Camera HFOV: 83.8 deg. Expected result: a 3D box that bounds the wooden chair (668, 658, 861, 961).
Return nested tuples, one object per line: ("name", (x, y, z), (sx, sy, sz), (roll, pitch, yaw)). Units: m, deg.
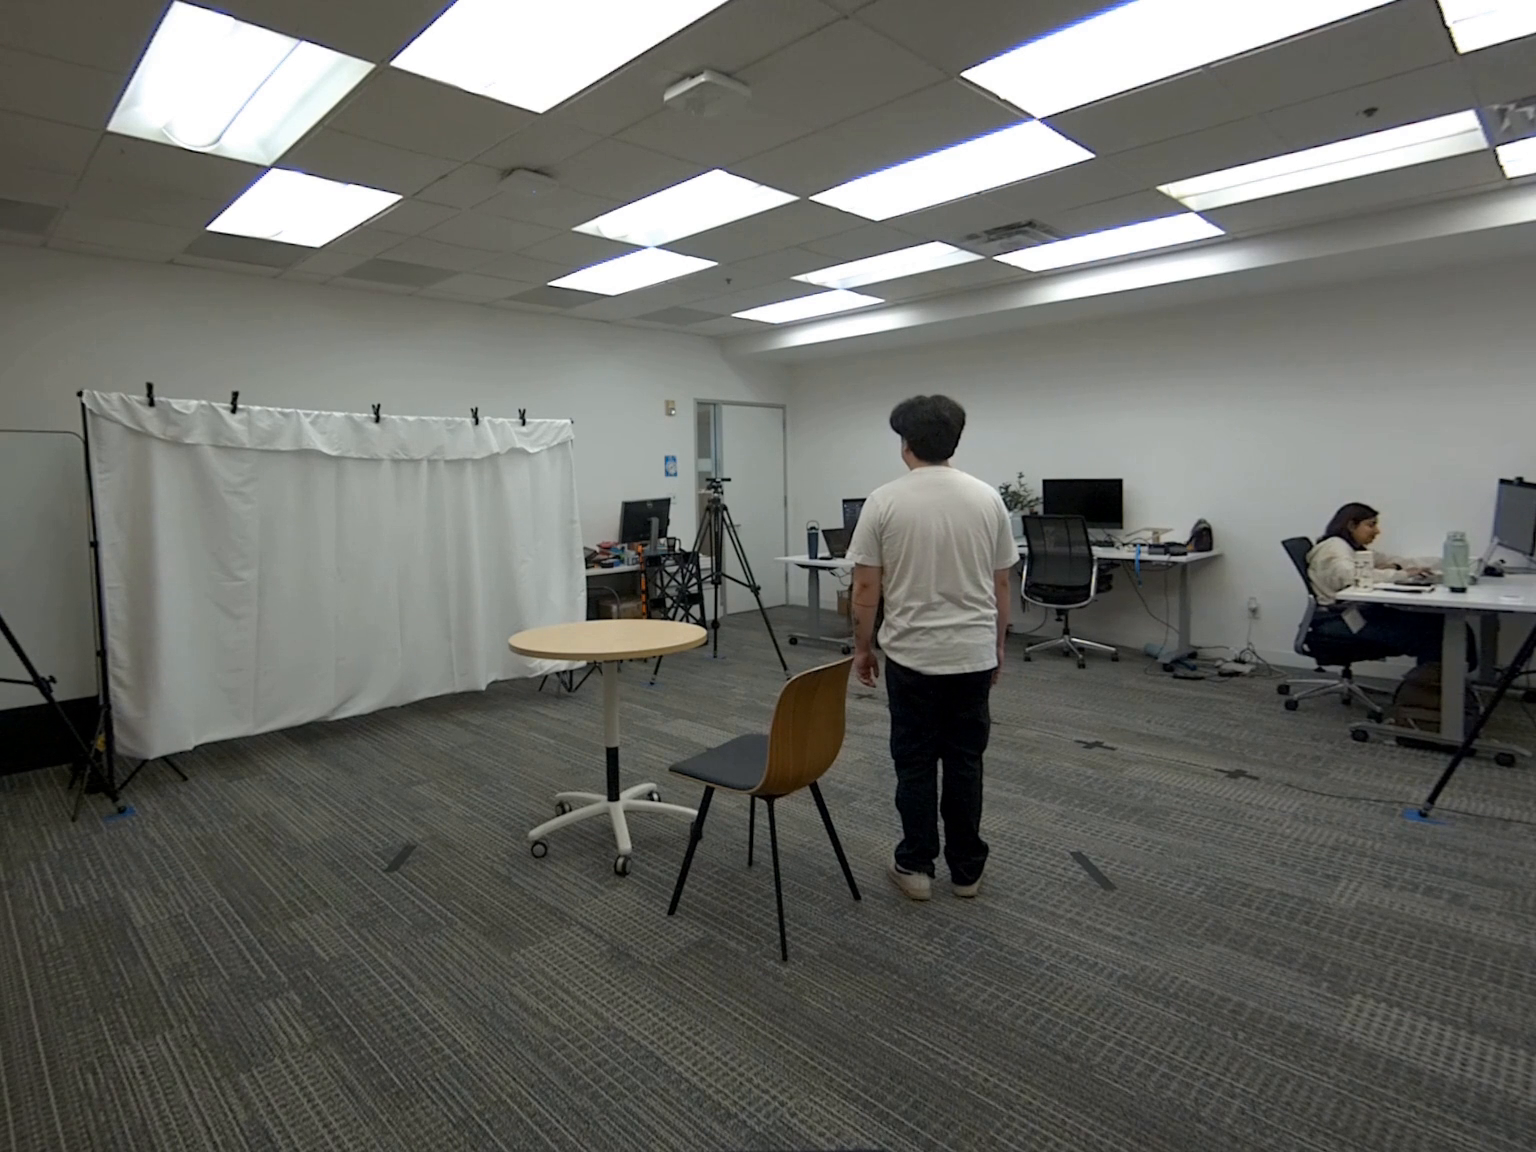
("wooden chair", (-0.016, 0.654, 2.750), (0.539, 0.872, 0.466), (7, 9, 36))
